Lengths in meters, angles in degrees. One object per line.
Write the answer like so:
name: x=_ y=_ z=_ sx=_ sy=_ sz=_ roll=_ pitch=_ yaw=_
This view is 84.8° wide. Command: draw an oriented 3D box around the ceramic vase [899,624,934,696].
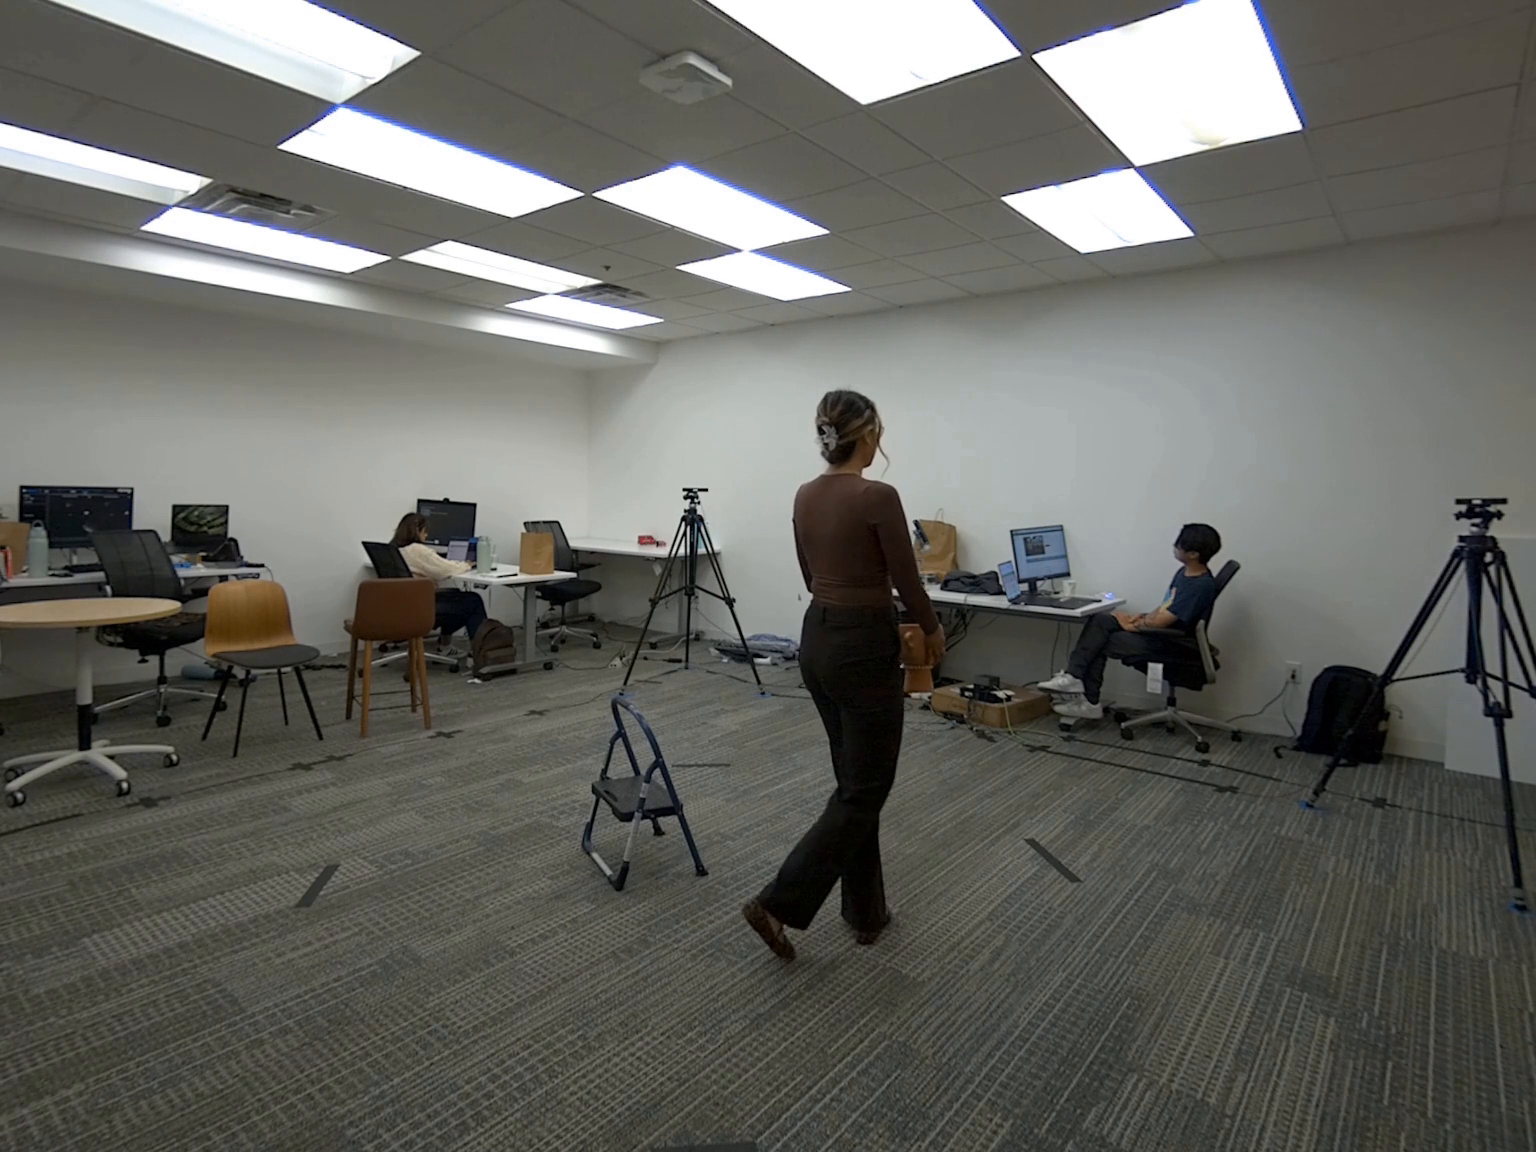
ceramic vase: x=0.484 y=0.270 z=2.810 sx=0.156 sy=0.220 sz=0.137 roll=-1 pitch=0 yaw=-20
